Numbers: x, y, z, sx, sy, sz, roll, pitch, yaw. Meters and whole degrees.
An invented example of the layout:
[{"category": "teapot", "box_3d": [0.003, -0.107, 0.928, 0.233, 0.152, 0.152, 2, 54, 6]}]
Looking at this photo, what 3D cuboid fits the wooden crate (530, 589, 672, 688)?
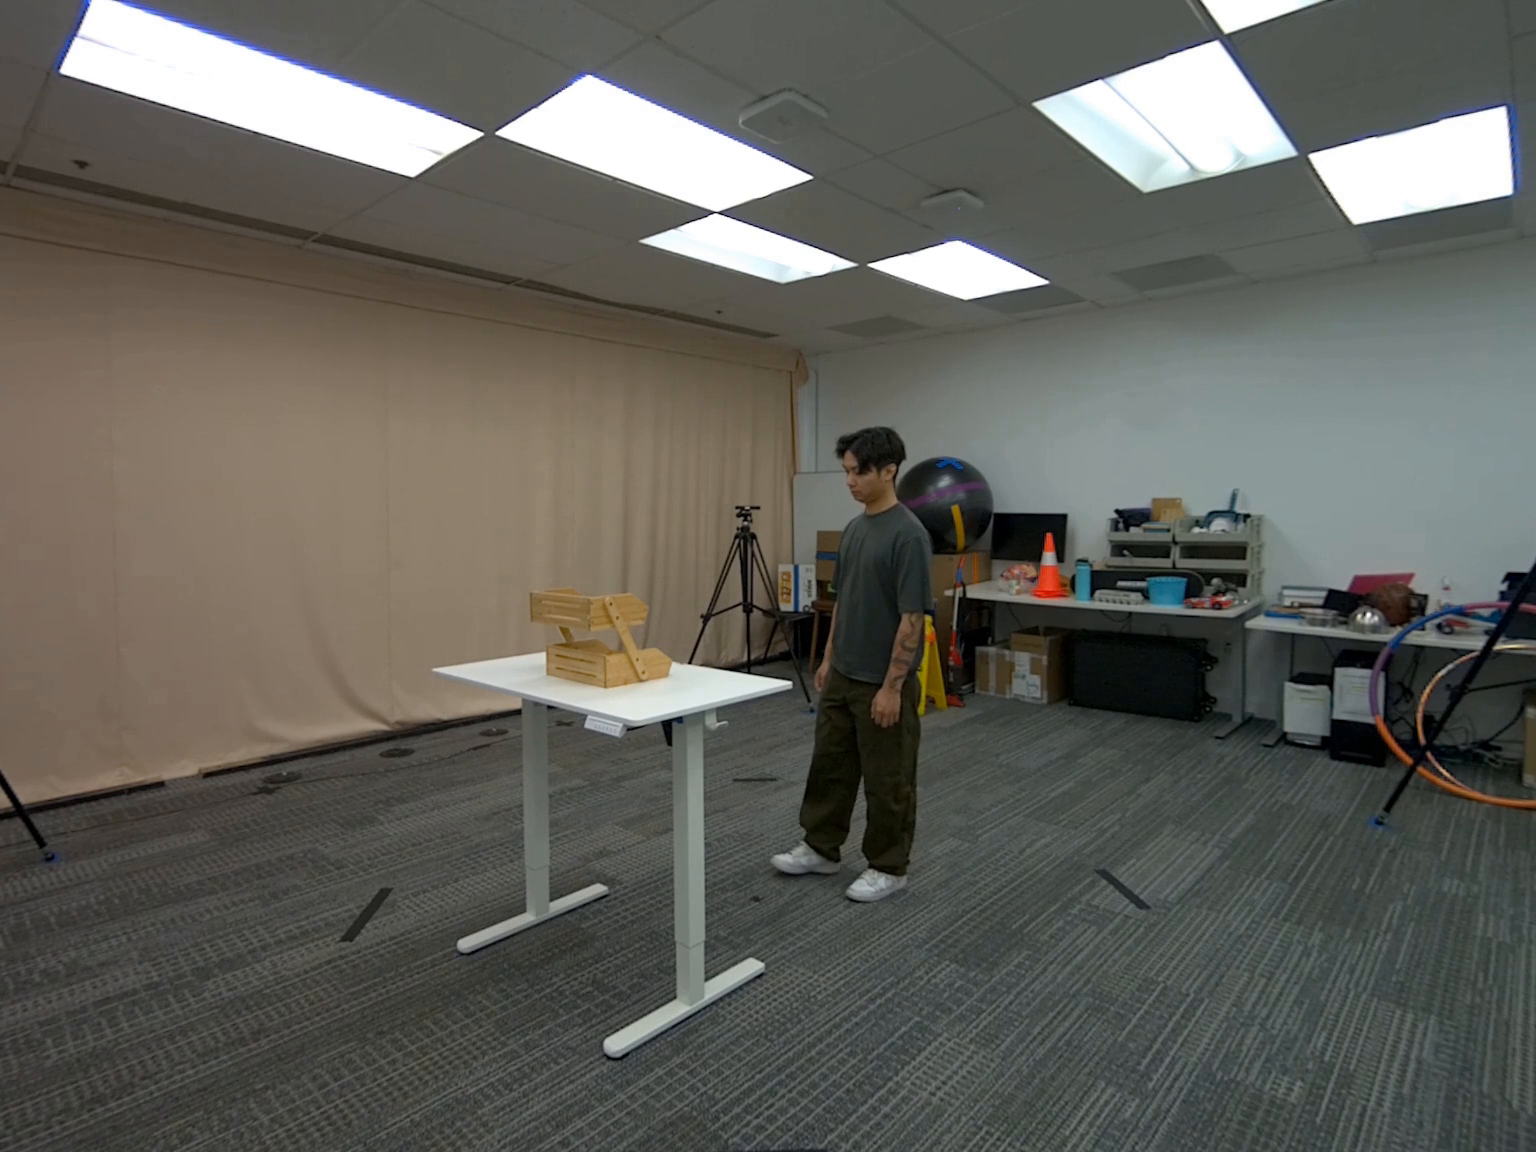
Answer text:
[{"category": "wooden crate", "box_3d": [-0.498, 0.171, 2.525, 0.335, 0.273, 0.293, 2, 5, 43]}]
